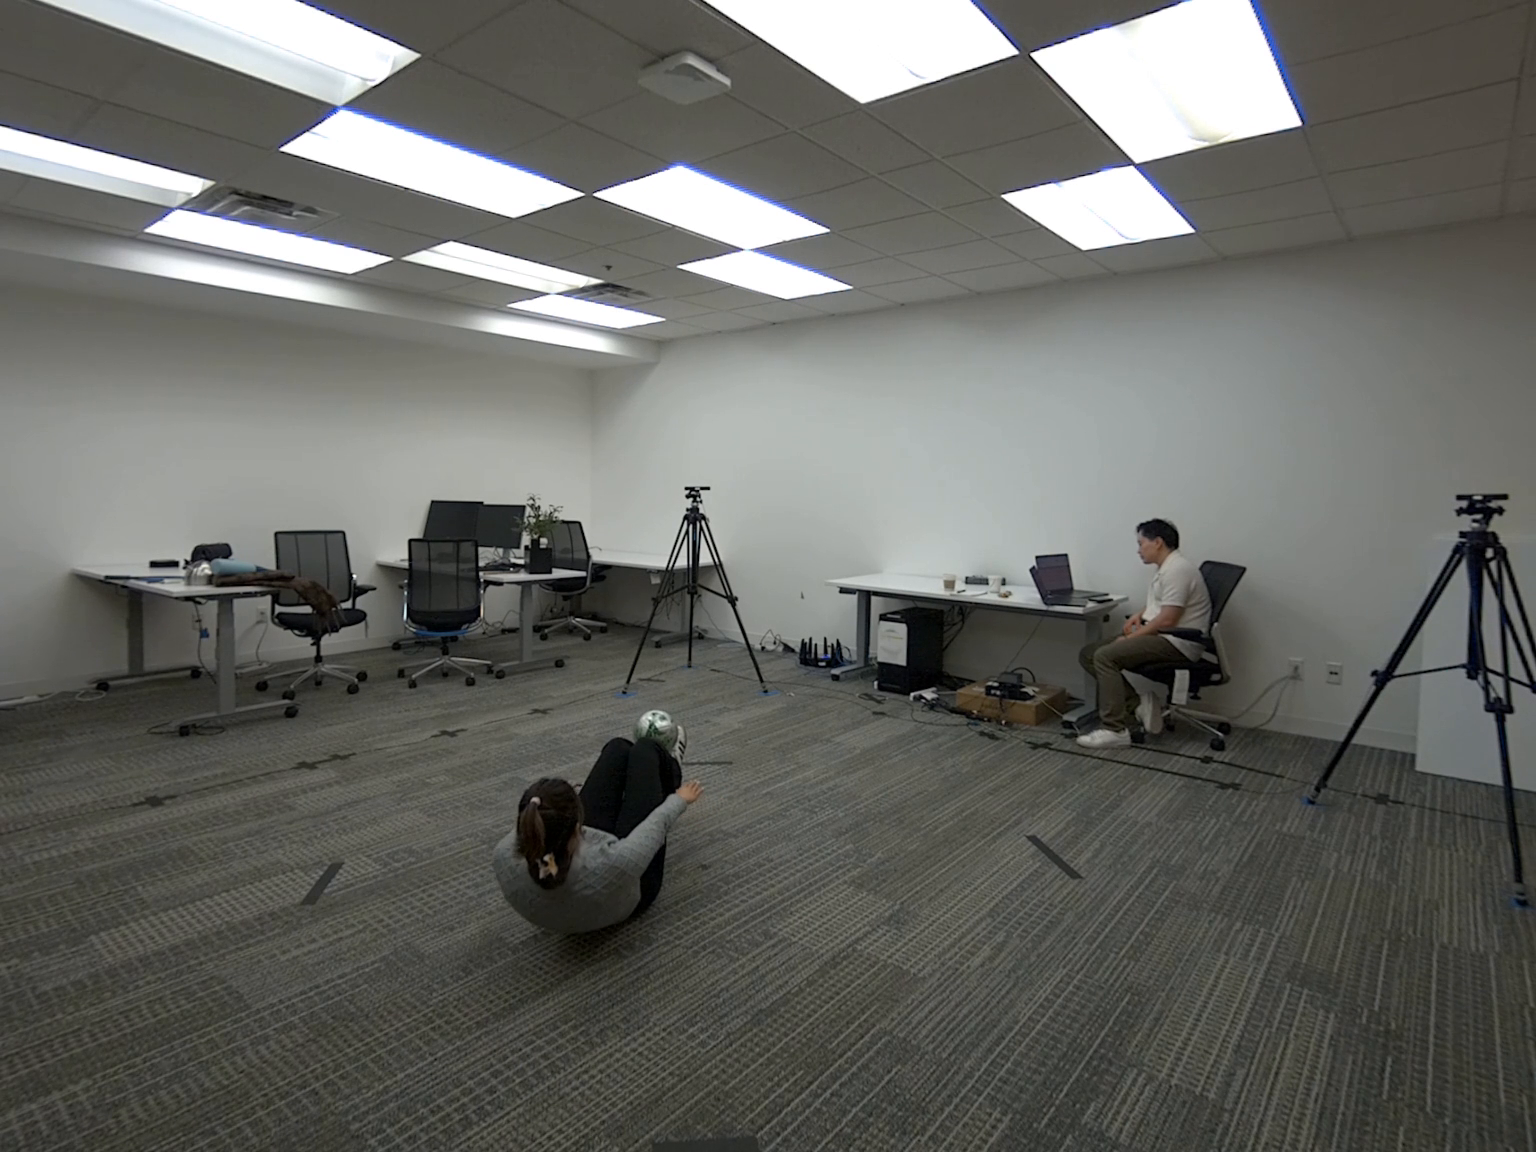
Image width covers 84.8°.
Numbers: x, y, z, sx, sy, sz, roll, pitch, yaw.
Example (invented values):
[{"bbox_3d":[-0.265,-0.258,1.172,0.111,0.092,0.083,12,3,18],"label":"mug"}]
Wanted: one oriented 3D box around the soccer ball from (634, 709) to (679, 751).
[{"bbox_3d":[-0.469,0.635,3.464,0.187,0.187,0.188,0,4,-2],"label":"soccer ball"}]
